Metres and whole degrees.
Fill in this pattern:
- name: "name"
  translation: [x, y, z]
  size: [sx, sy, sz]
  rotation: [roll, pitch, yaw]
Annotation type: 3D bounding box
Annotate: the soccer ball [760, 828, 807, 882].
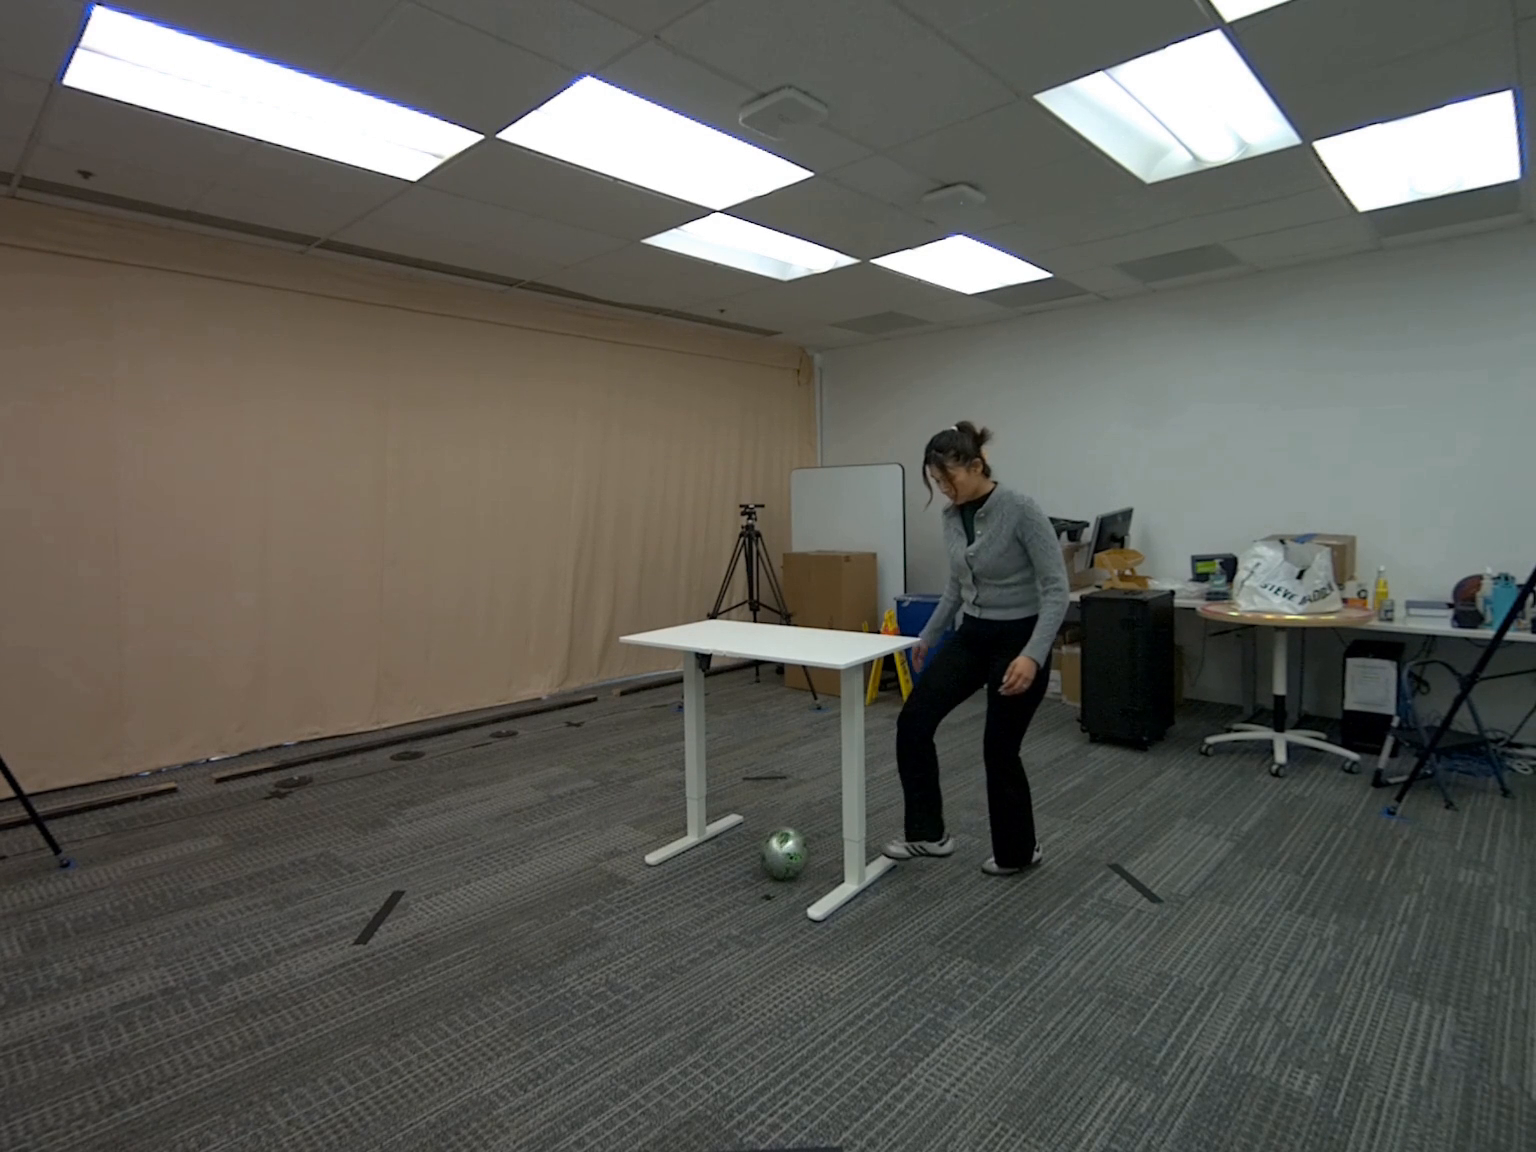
- name: "soccer ball"
  translation: [0.056, 1.031, 3.140]
  size: [0.187, 0.187, 0.188]
  rotation: [-1, 4, -2]
